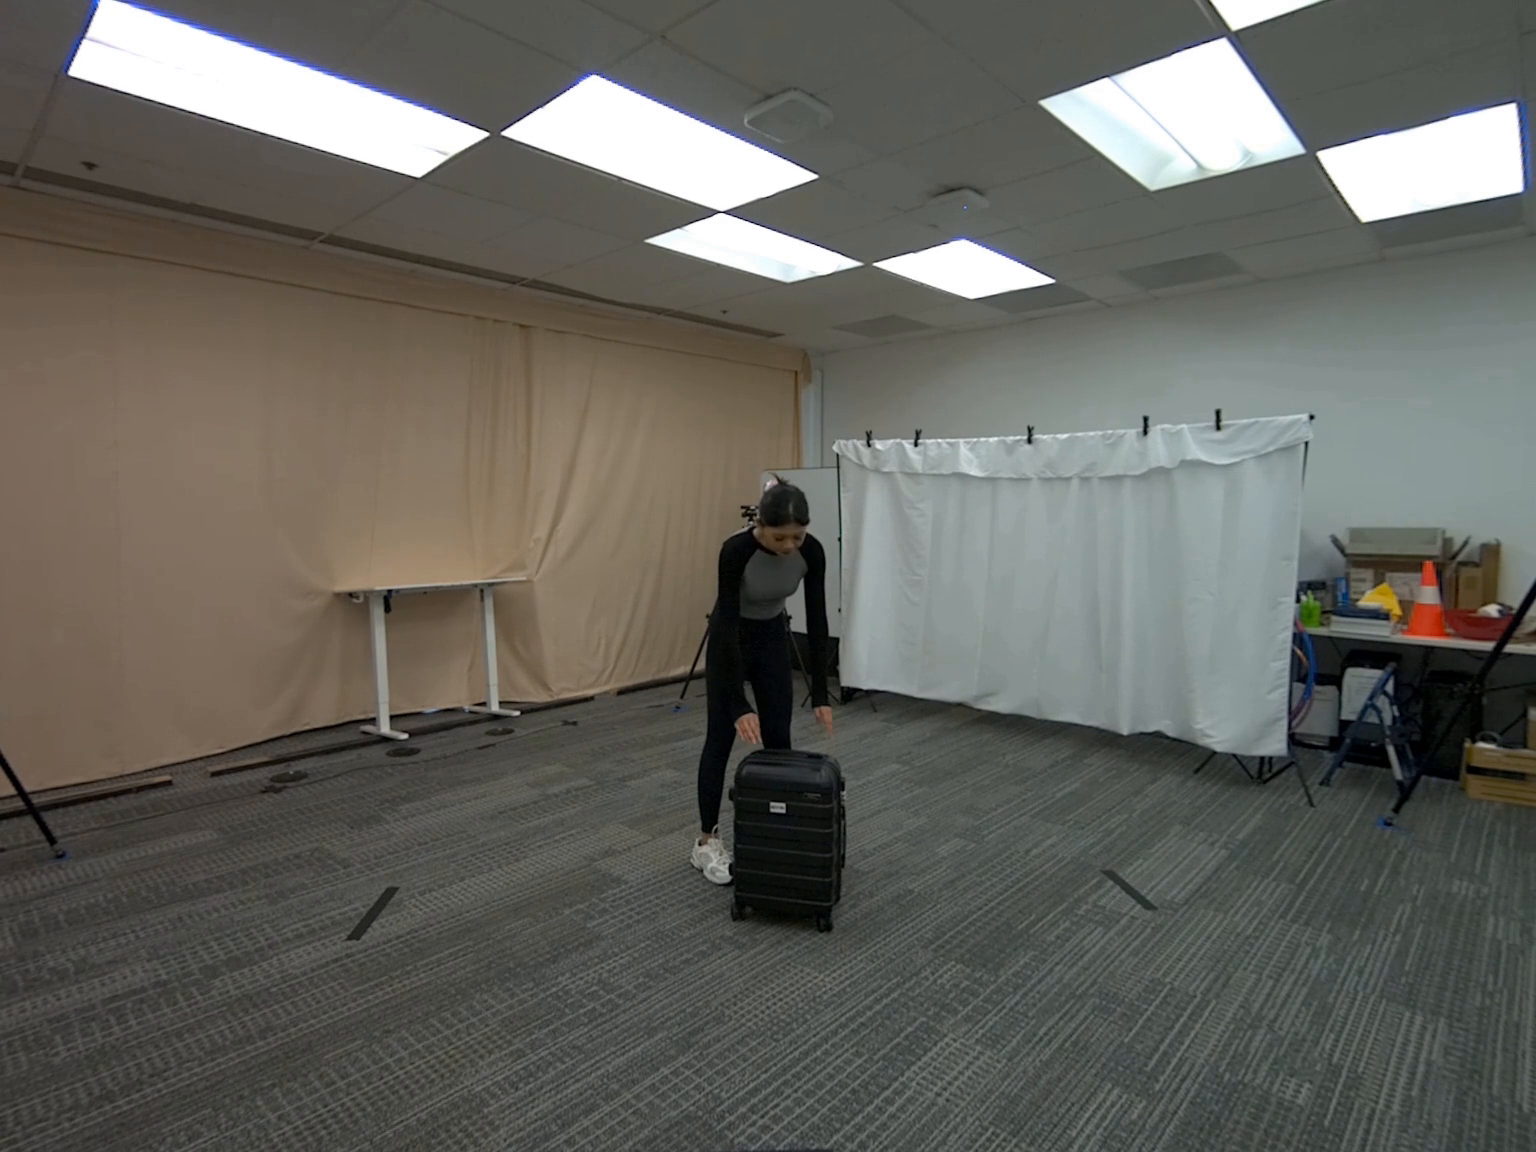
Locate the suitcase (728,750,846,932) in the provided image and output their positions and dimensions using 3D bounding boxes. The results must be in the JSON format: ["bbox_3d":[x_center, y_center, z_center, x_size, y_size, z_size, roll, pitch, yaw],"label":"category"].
[{"bbox_3d":[0.075,0.879,2.864,0.382,0.547,0.245,2,5,16],"label":"suitcase"}]
